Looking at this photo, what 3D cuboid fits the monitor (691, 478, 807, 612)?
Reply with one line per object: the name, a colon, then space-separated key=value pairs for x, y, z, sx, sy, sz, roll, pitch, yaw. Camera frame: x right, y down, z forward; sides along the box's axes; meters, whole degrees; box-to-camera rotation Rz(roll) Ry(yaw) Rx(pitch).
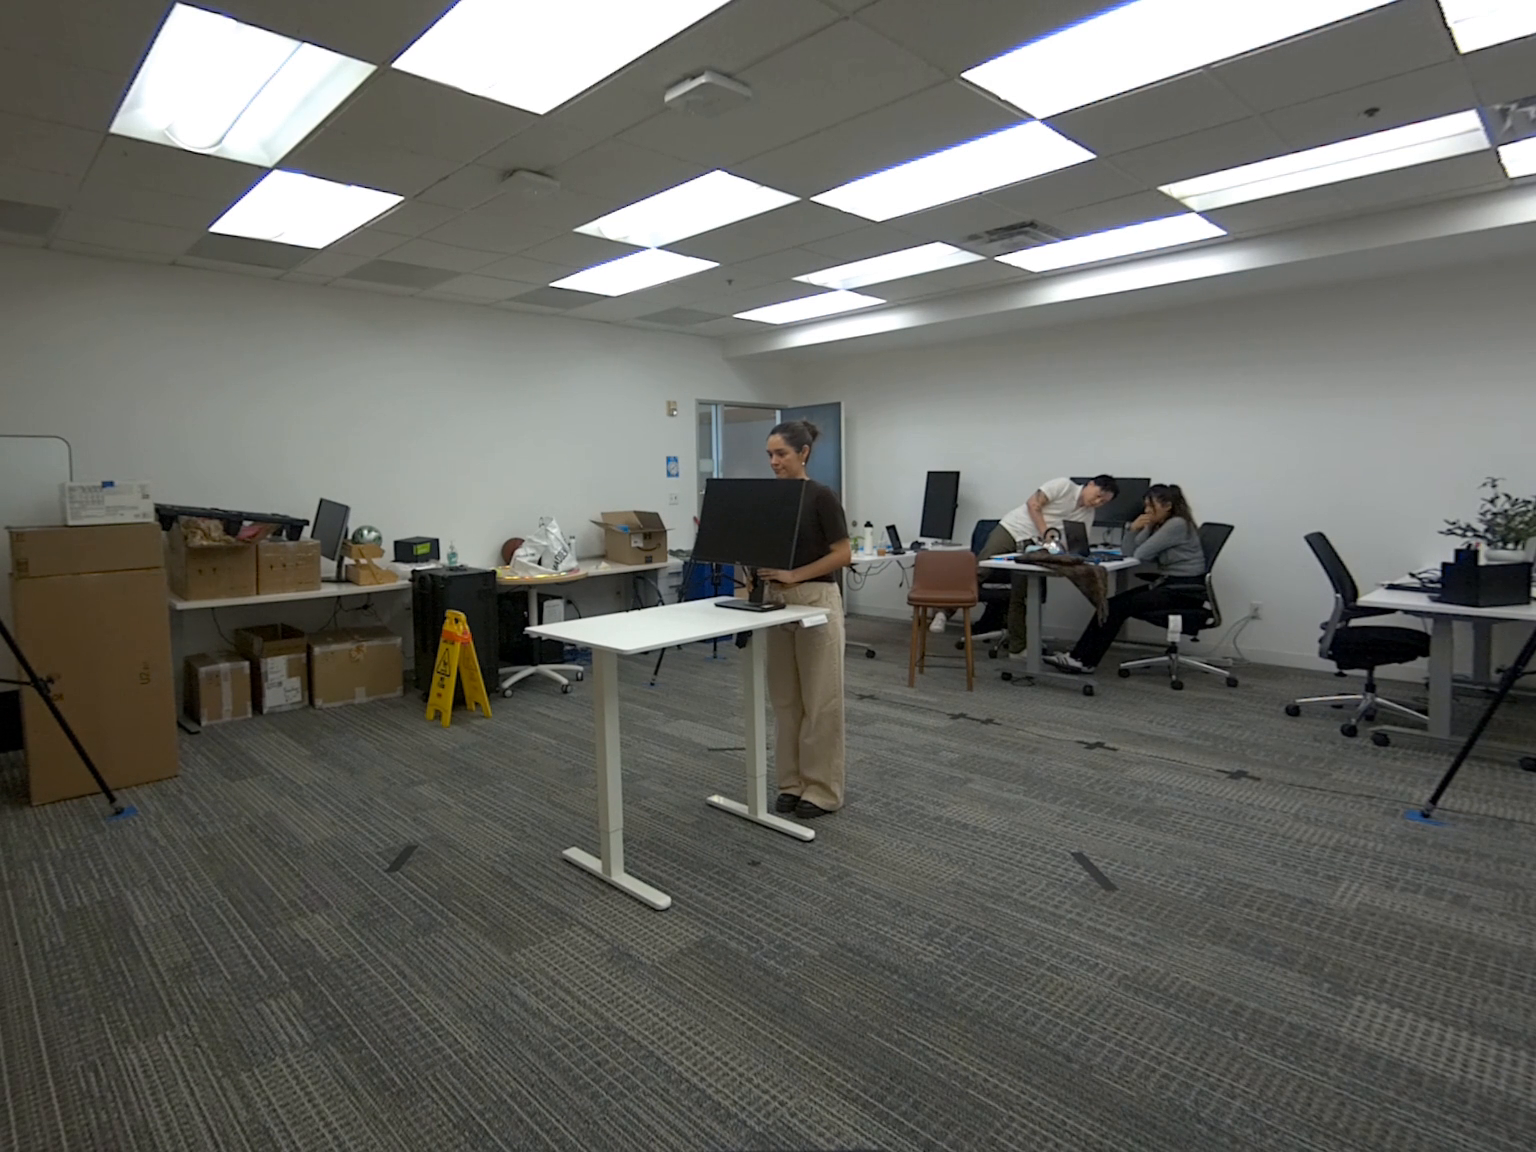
monitor: x=-0.075 y=-0.131 z=3.409 sx=0.547 sy=0.513 sz=0.170 roll=6 pitch=10 yaw=42
